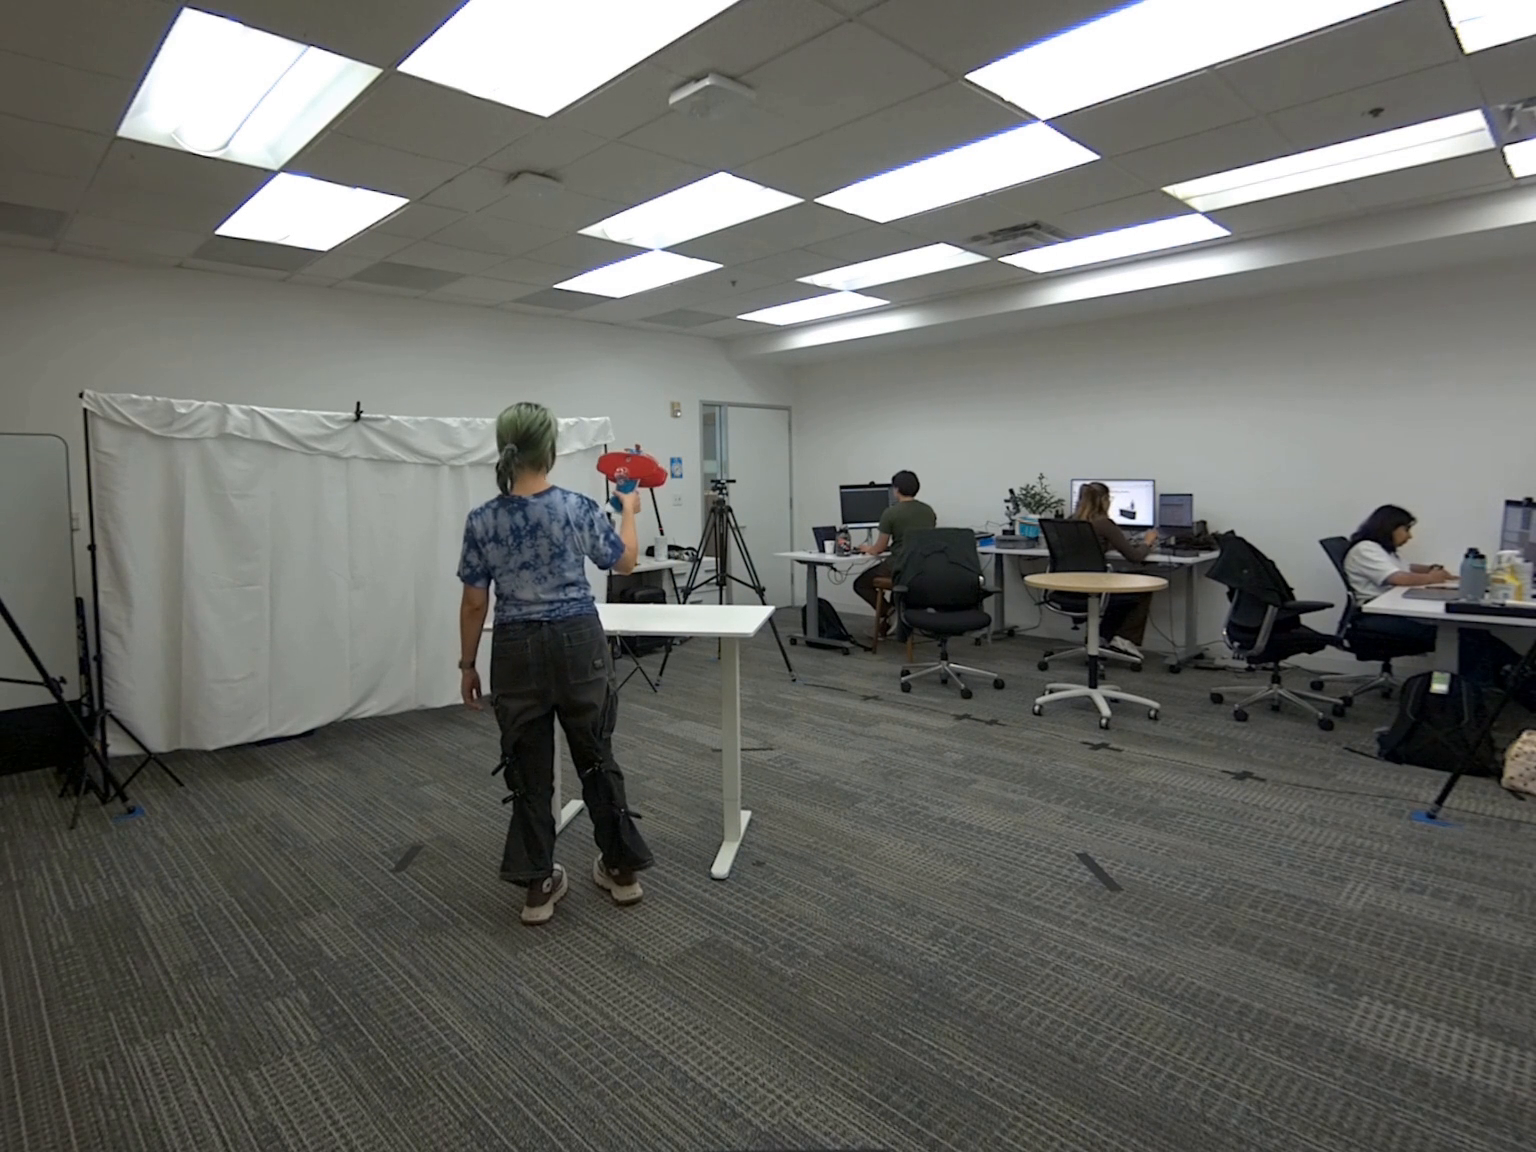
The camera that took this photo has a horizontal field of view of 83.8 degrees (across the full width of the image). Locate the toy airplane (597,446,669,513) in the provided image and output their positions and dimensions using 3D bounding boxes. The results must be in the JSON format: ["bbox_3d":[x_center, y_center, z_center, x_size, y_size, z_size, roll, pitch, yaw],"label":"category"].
[{"bbox_3d":[-0.490,-0.346,3.122,0.253,0.267,0.151,-16,-38,9],"label":"toy airplane"}]
